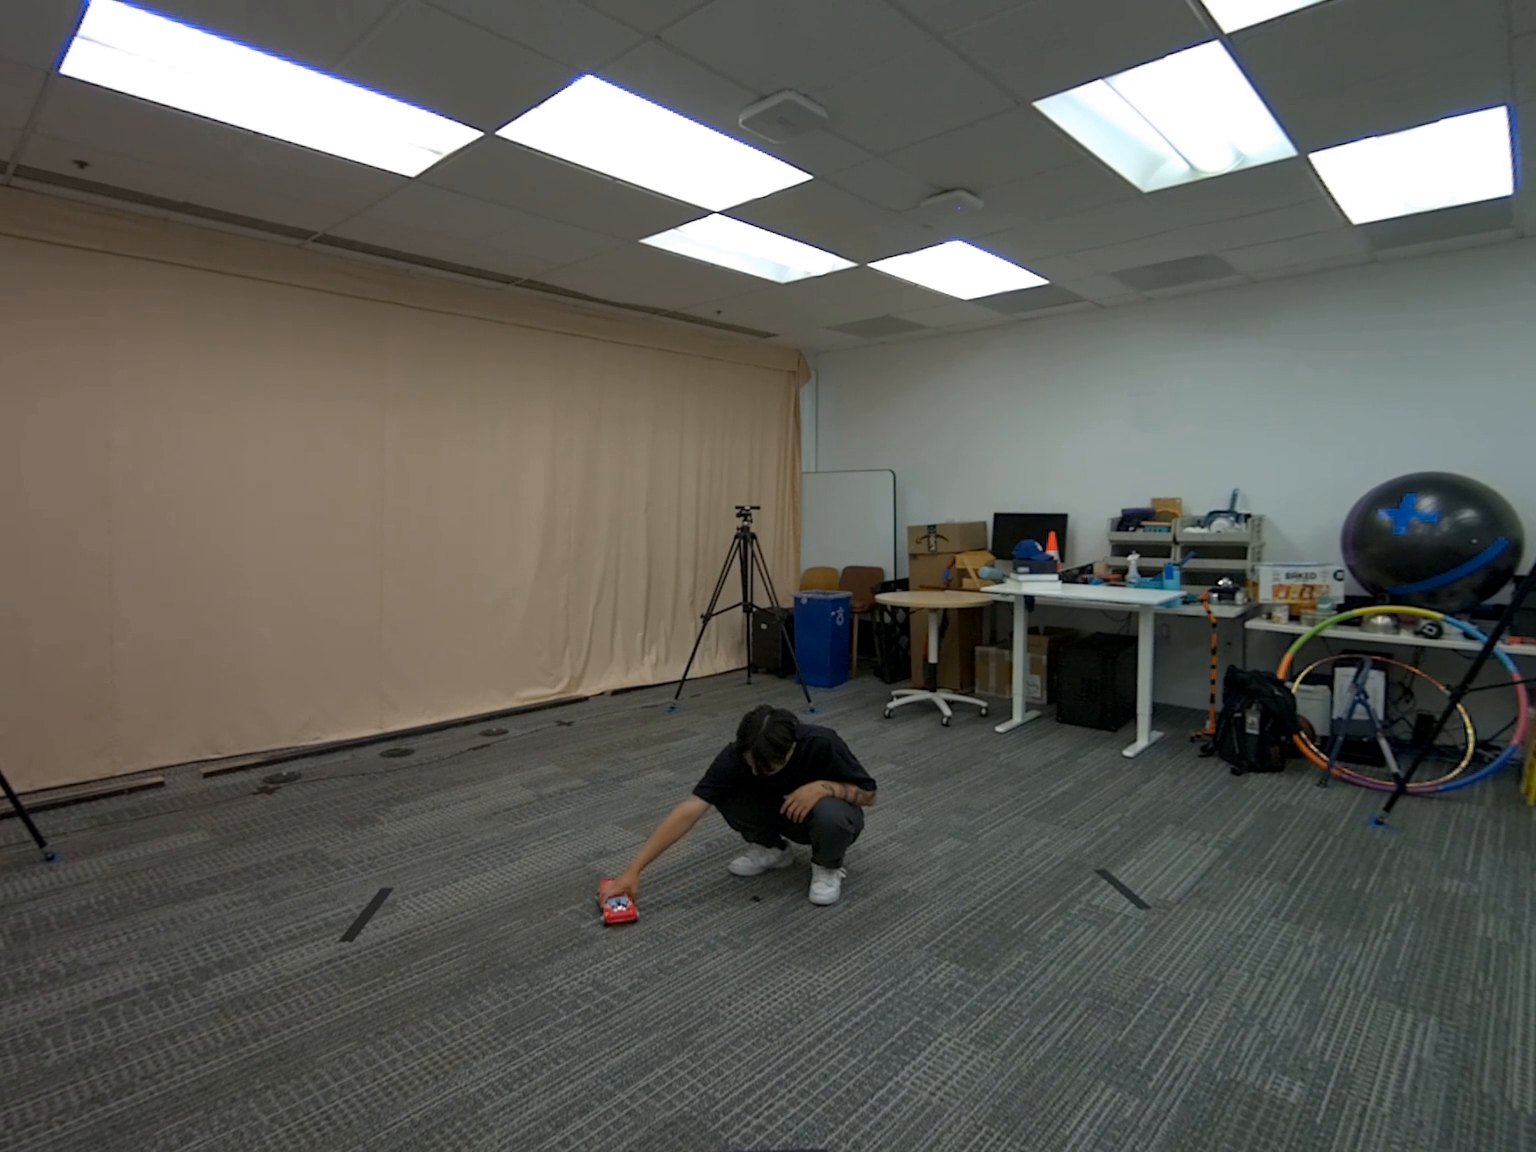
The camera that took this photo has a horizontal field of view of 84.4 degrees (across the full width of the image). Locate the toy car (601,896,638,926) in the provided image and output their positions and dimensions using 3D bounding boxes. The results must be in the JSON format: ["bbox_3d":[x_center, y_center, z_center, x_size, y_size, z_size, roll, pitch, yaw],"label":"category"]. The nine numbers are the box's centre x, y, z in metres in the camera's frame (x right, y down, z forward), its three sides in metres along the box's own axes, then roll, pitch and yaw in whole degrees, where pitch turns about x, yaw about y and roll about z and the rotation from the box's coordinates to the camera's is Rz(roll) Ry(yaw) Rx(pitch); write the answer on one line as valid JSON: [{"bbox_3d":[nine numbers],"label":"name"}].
[{"bbox_3d":[-0.522,1.127,2.911,0.128,0.082,0.261,-1,15,-18],"label":"toy car"}]
